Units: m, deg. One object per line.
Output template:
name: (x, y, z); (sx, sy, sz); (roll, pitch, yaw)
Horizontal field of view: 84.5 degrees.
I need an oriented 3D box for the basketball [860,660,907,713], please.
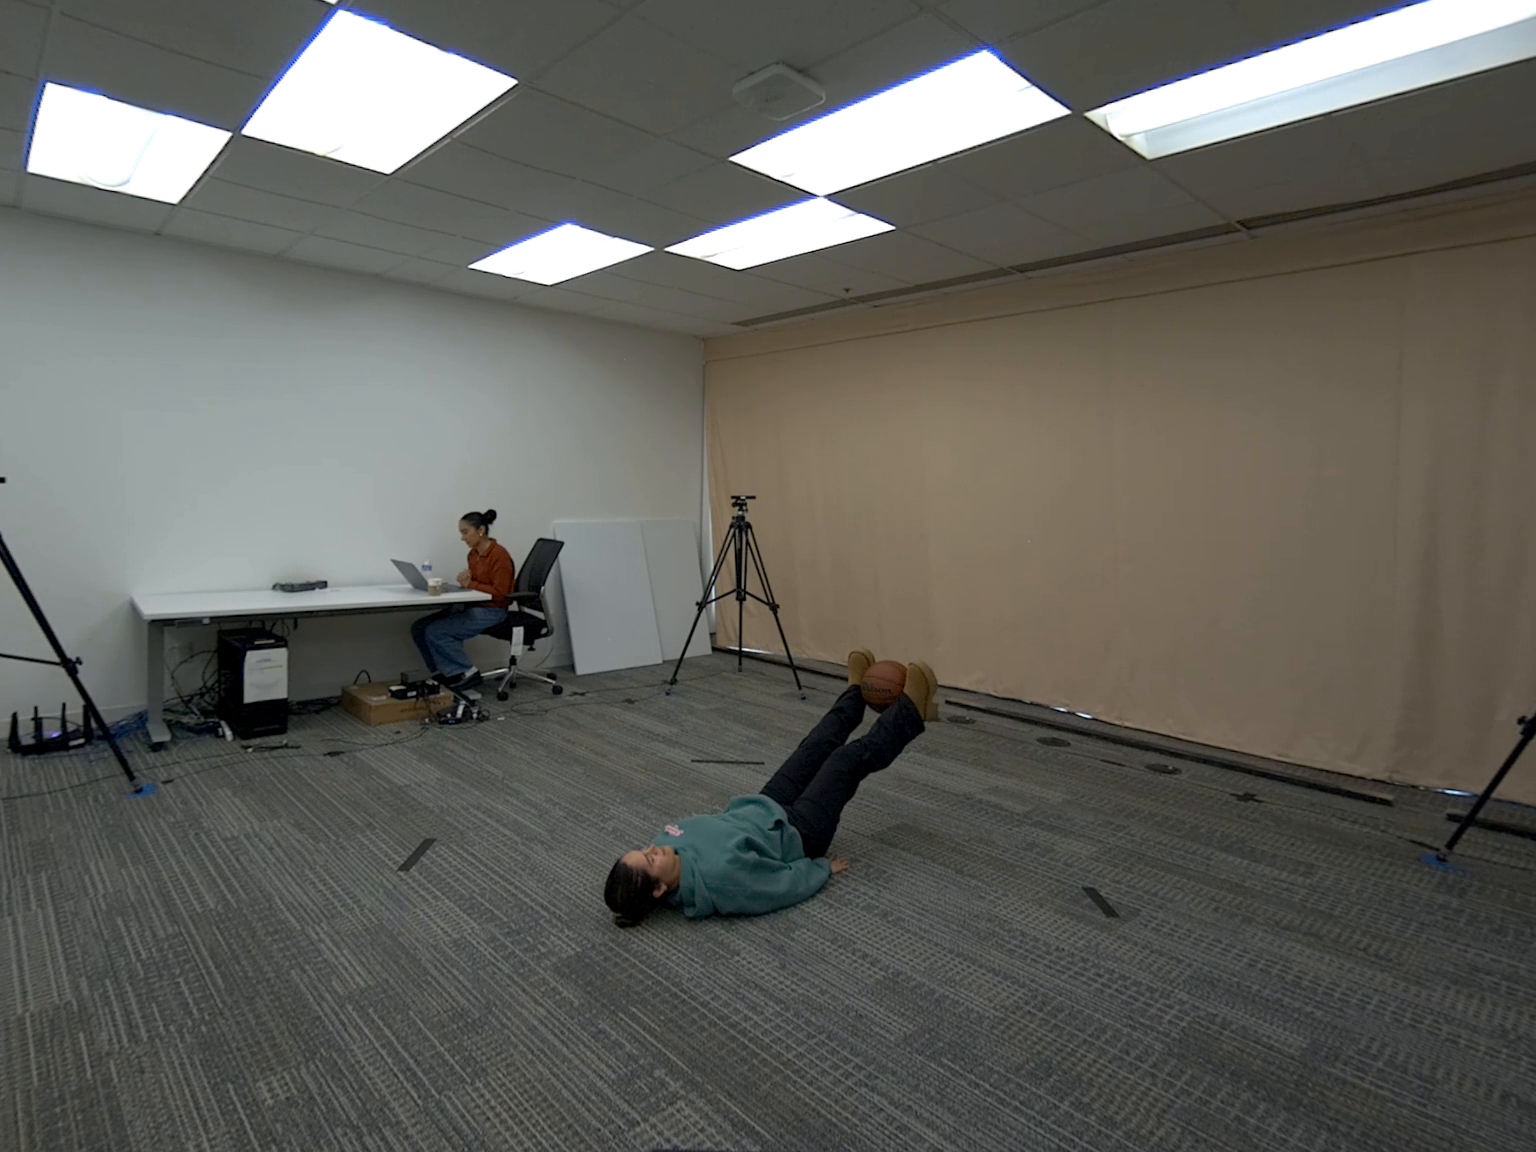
basketball: (0.511, 0.483, 3.656); (0.236, 0.235, 0.237); (1, 5, -1)
